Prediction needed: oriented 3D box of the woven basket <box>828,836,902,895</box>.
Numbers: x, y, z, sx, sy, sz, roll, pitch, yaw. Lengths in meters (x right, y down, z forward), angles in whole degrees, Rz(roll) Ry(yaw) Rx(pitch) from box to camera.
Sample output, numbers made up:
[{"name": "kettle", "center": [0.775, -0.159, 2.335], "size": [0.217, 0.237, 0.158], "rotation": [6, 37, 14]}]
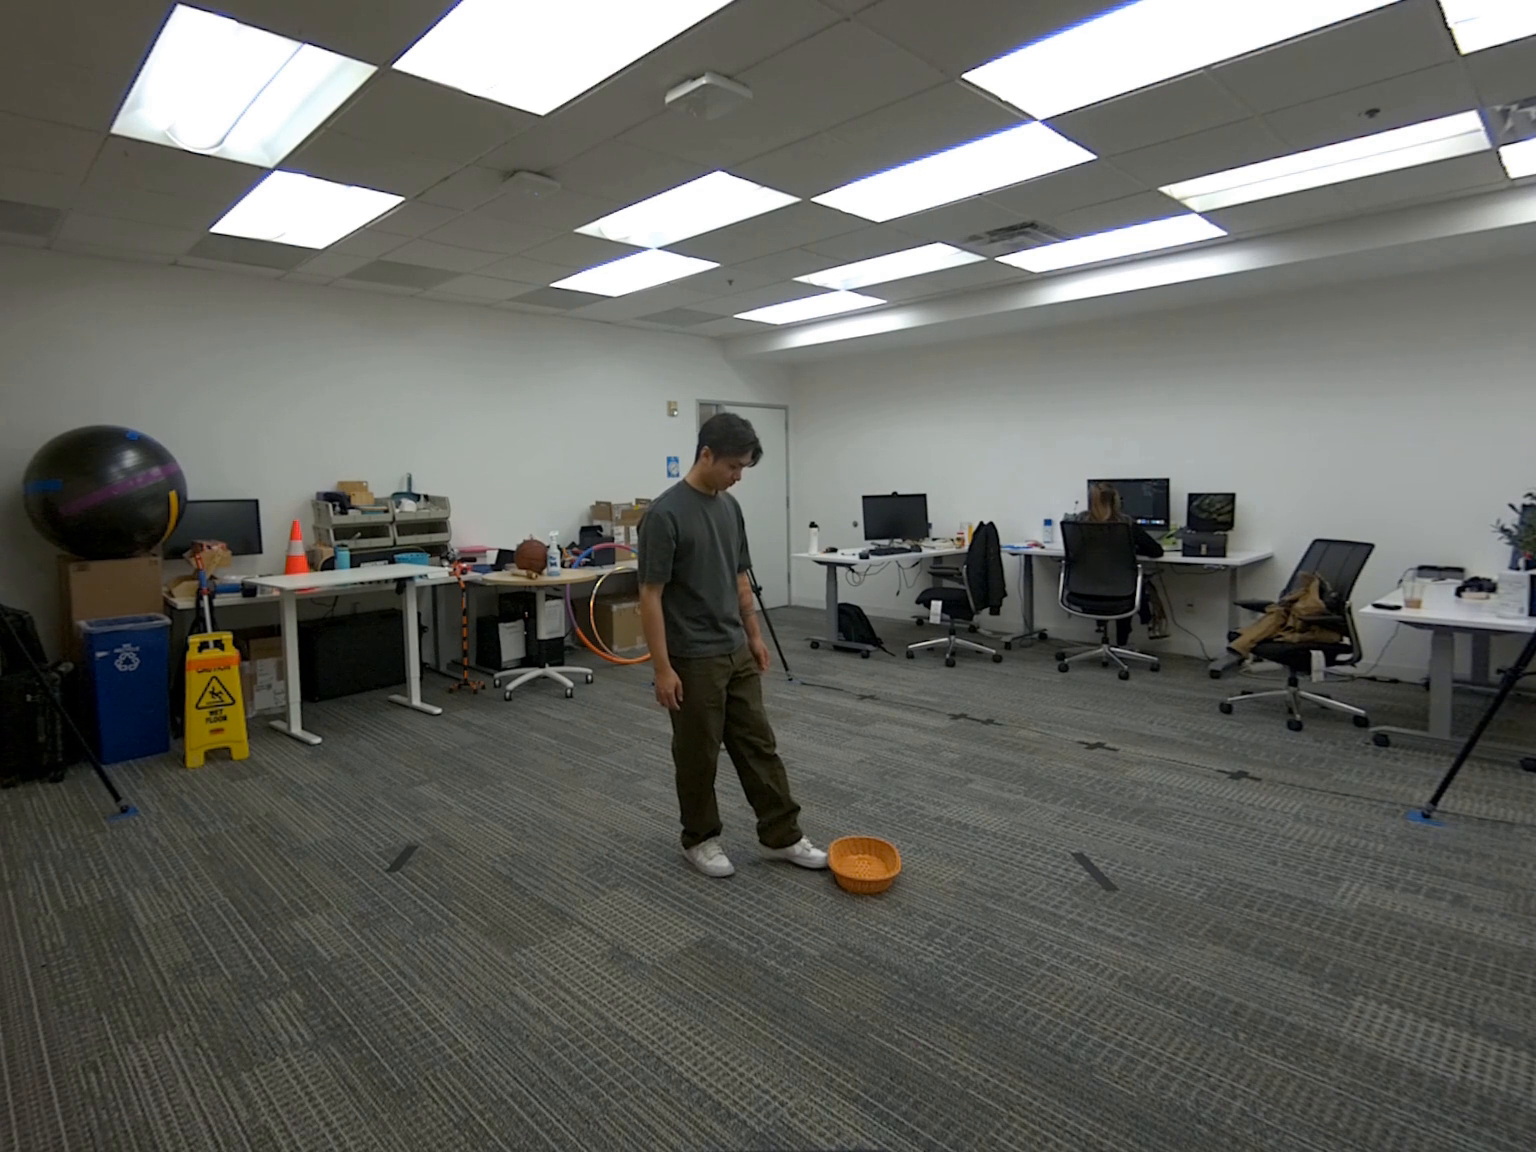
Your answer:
[{"name": "woven basket", "center": [0.339, 1.008, 2.992], "size": [0.254, 0.073, 0.349], "rotation": [0, 6, 7]}]
